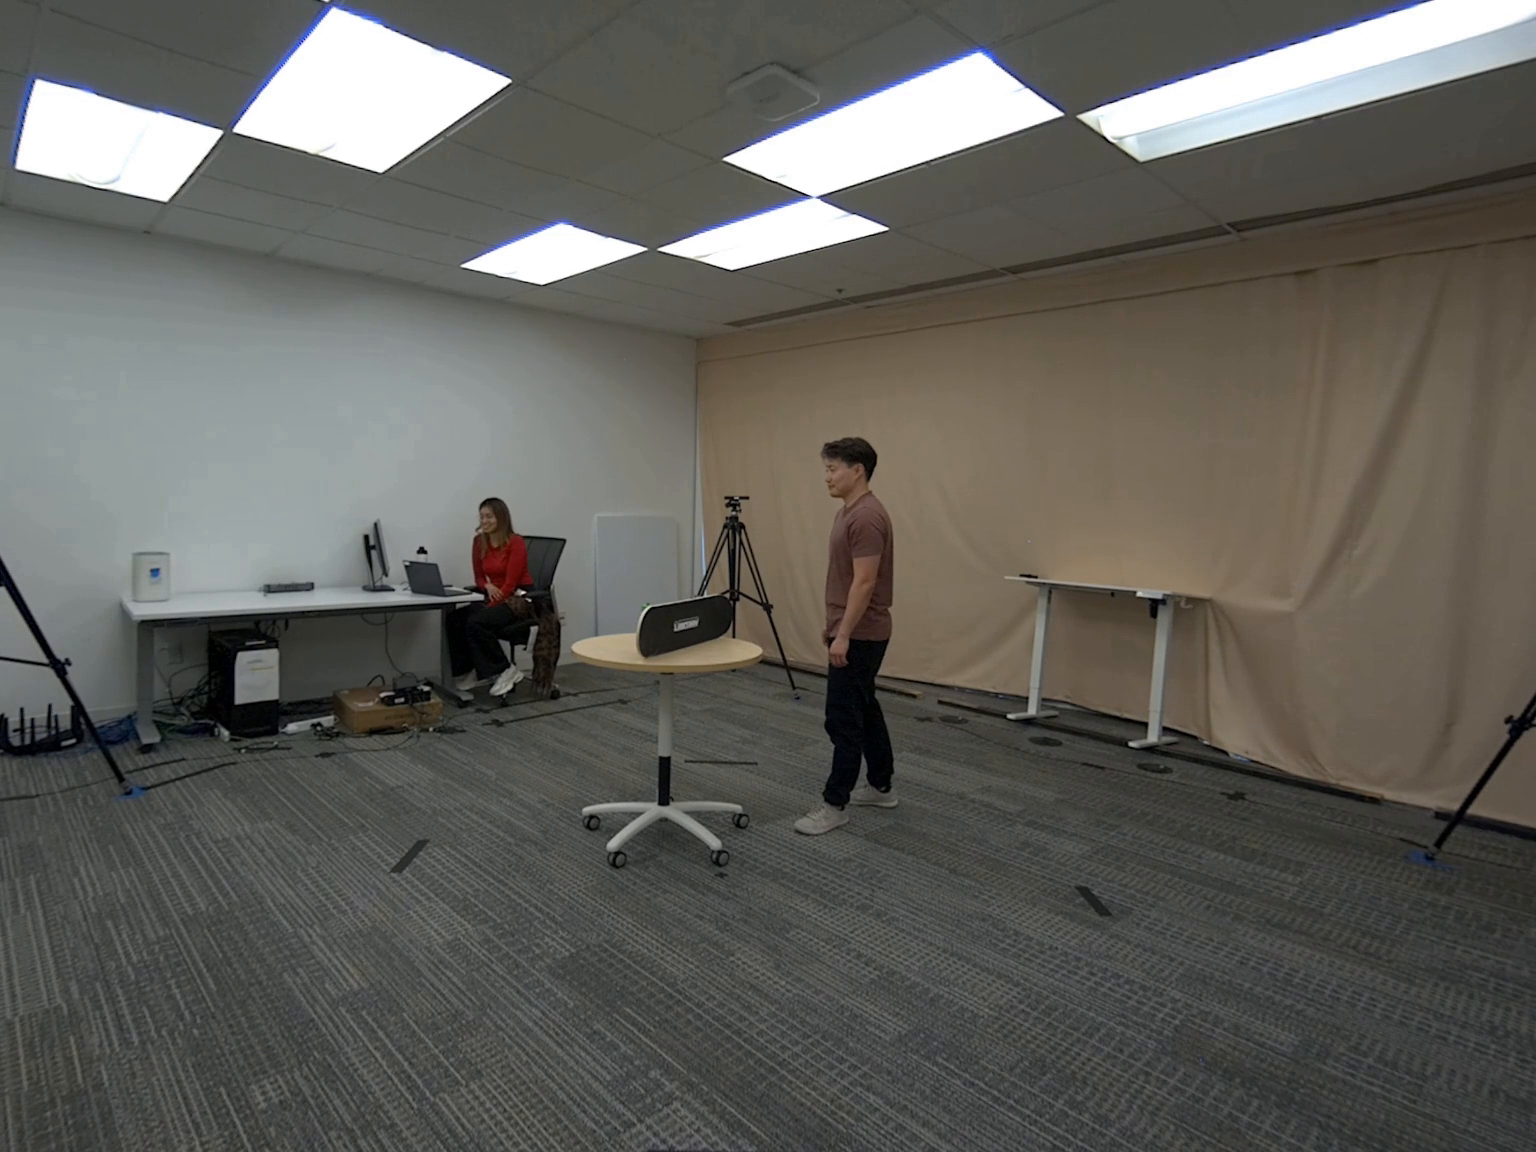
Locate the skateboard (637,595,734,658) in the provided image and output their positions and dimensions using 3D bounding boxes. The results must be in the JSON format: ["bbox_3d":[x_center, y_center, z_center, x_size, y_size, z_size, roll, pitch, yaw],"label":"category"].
[{"bbox_3d":[-0.364,0.193,3.390,0.112,0.193,0.772,2,4,24],"label":"skateboard"}]
